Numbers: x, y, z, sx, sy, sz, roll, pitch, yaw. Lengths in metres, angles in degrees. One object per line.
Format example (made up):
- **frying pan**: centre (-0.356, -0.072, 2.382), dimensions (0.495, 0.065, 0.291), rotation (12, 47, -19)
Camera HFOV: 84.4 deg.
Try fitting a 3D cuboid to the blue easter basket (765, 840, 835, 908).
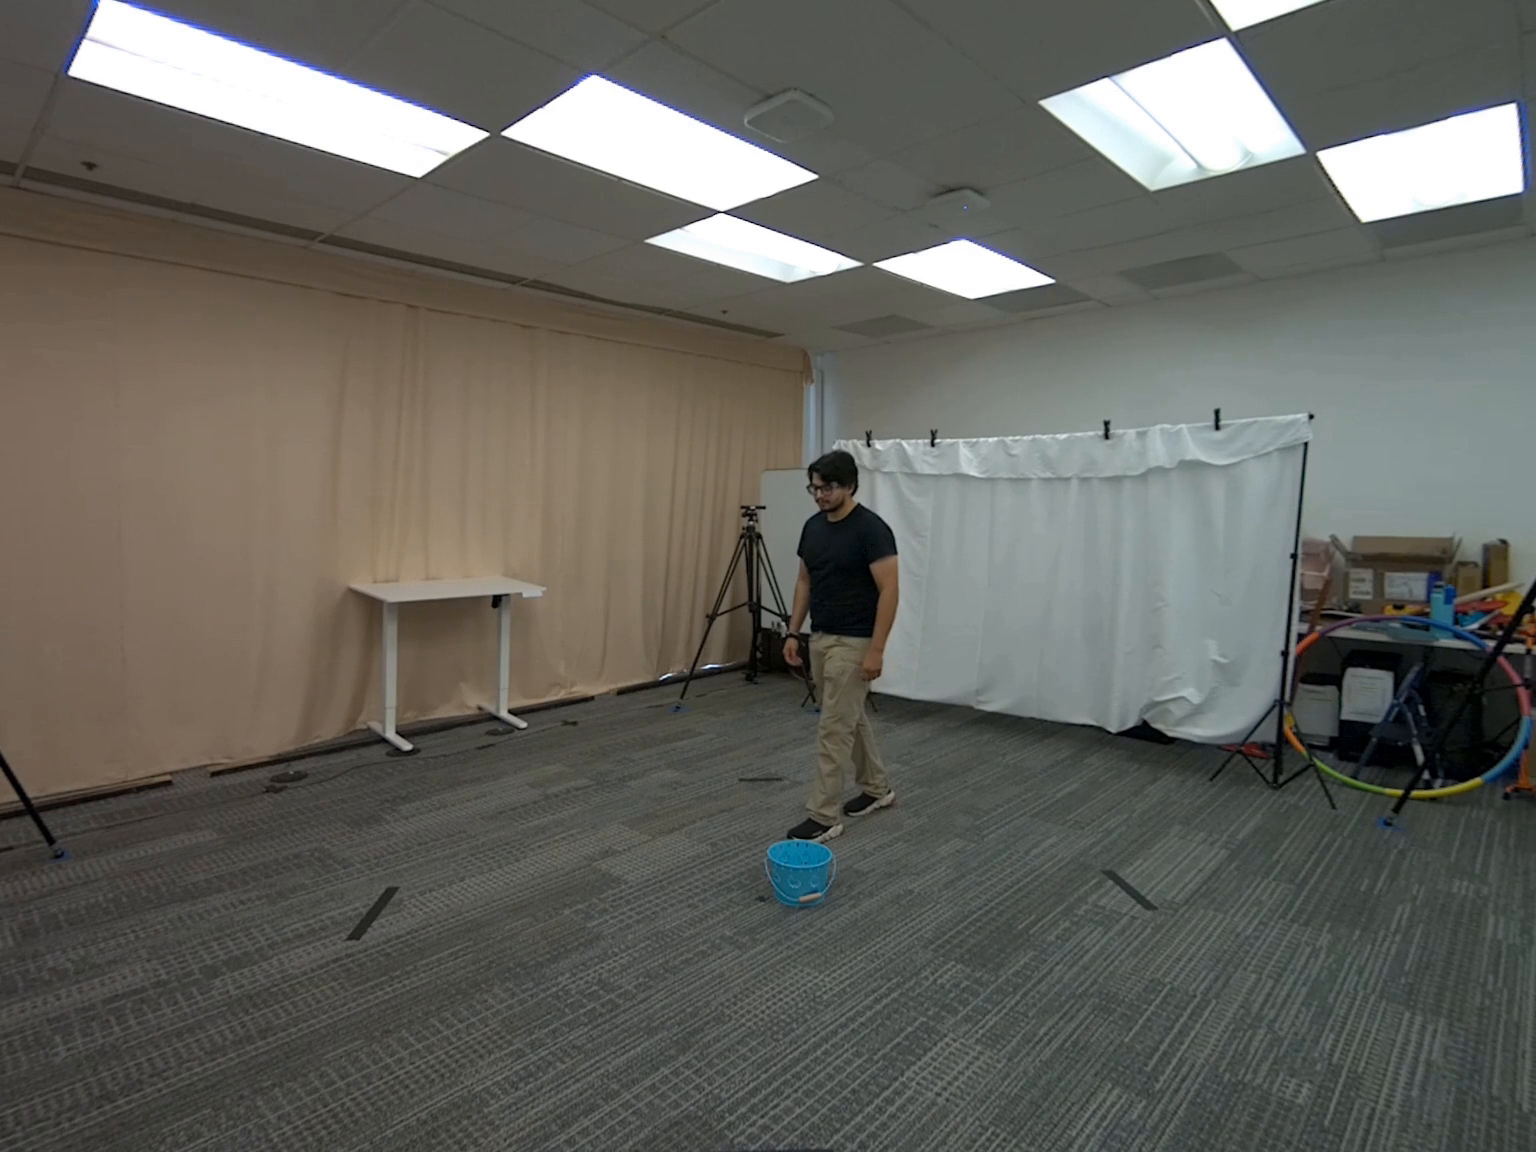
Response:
- **blue easter basket**: centre (0.111, 1.061, 3.002), dimensions (0.243, 0.155, 0.244), rotation (0, 4, -2)
